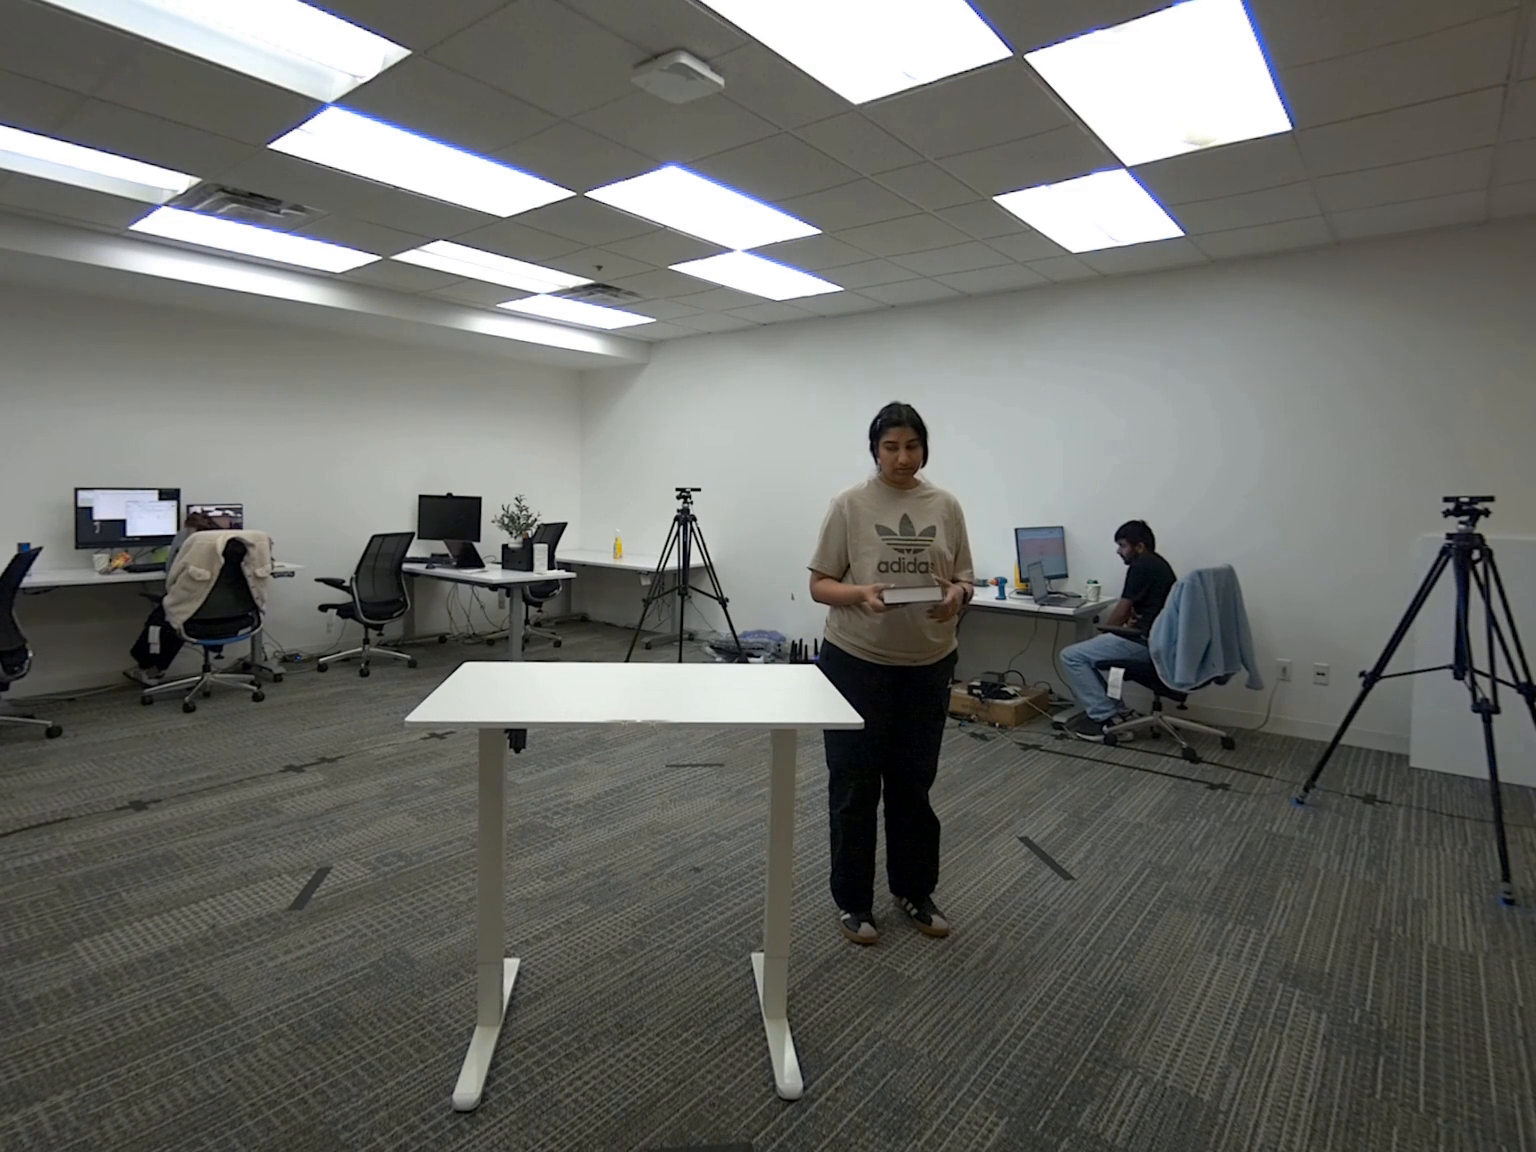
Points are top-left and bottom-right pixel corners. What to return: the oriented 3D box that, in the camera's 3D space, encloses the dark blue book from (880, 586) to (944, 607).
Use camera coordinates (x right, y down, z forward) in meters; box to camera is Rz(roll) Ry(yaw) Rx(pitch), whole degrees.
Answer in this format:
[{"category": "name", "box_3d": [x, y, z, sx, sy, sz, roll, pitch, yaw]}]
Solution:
[{"category": "dark blue book", "box_3d": [0.402, 0.060, 2.454, 0.166, 0.045, 0.240, -2, -4, 13]}]
